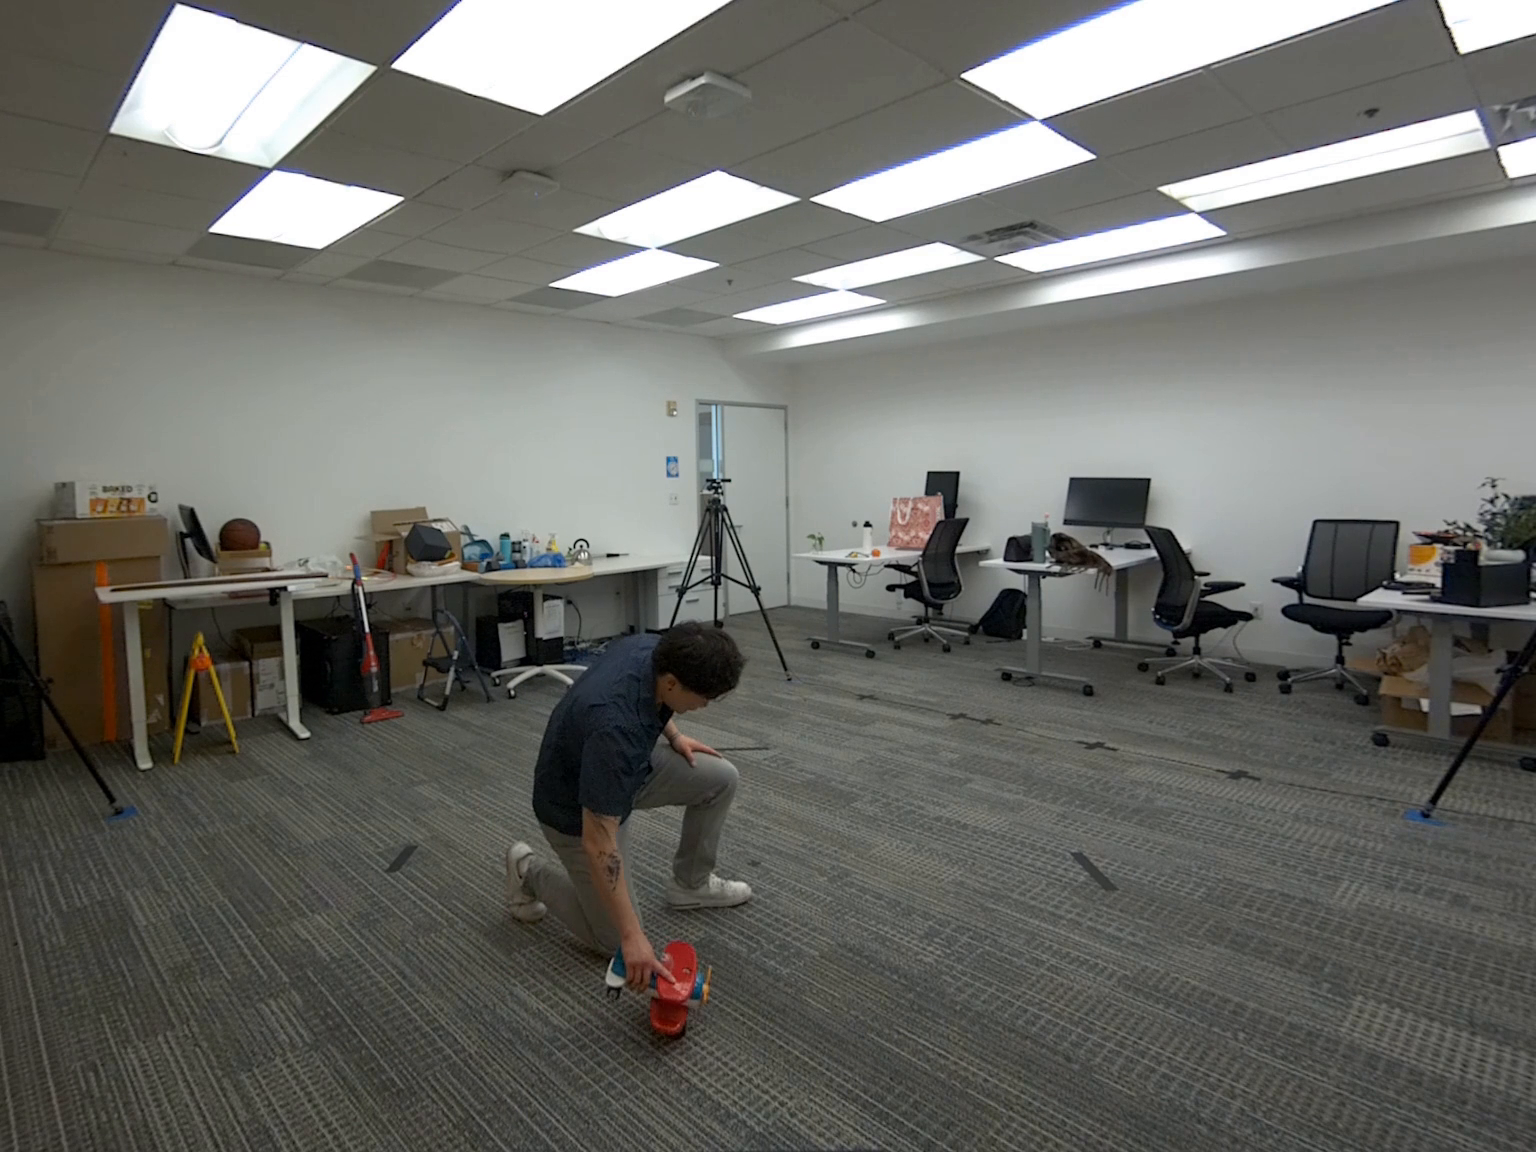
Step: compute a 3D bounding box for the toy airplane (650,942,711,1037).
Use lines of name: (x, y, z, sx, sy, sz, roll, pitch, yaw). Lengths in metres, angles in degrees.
toy airplane: (-0.279, 1.058, 2.169, 0.251, 0.156, 0.259, 23, 7, -29)
